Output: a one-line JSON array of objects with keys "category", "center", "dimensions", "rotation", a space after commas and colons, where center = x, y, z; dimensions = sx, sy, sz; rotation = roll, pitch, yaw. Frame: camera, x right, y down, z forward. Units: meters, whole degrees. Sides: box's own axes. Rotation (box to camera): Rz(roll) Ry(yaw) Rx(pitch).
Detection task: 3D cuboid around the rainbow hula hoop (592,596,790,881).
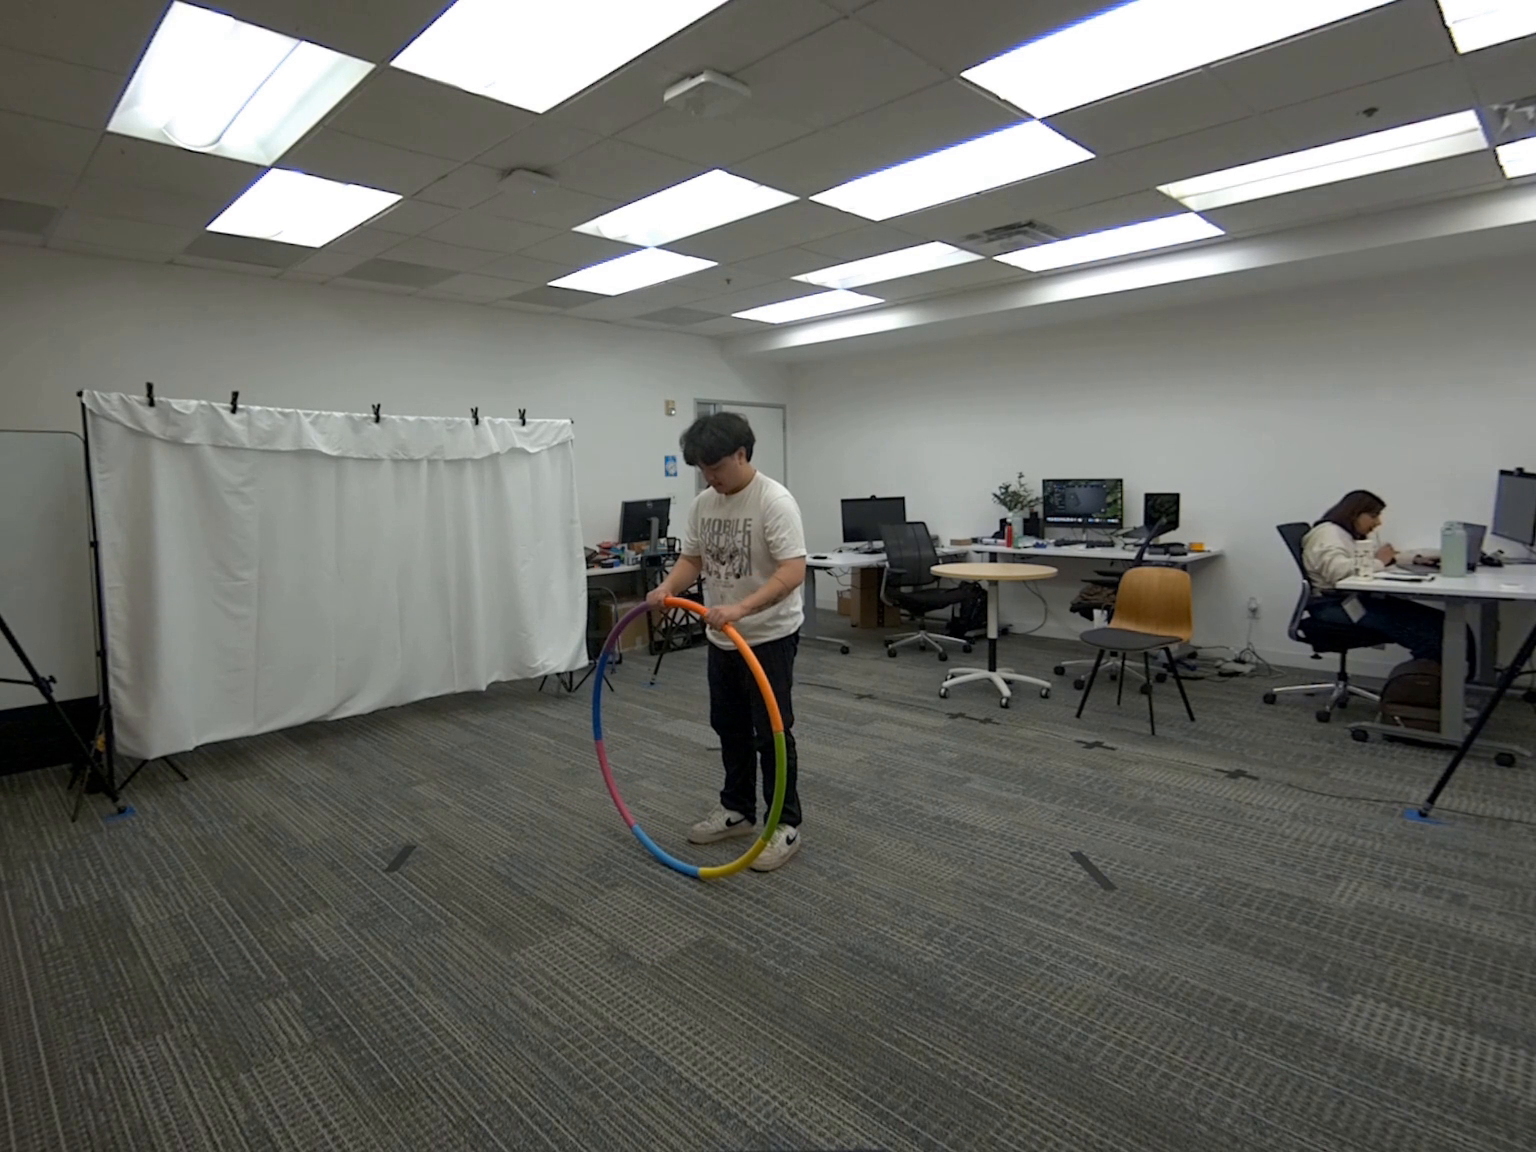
[{"category": "rainbow hula hoop", "center": [-0.314, 0.565, 3.026], "dimensions": [1.016, 0.983, 0.050], "rotation": [4, 4, 43]}]
